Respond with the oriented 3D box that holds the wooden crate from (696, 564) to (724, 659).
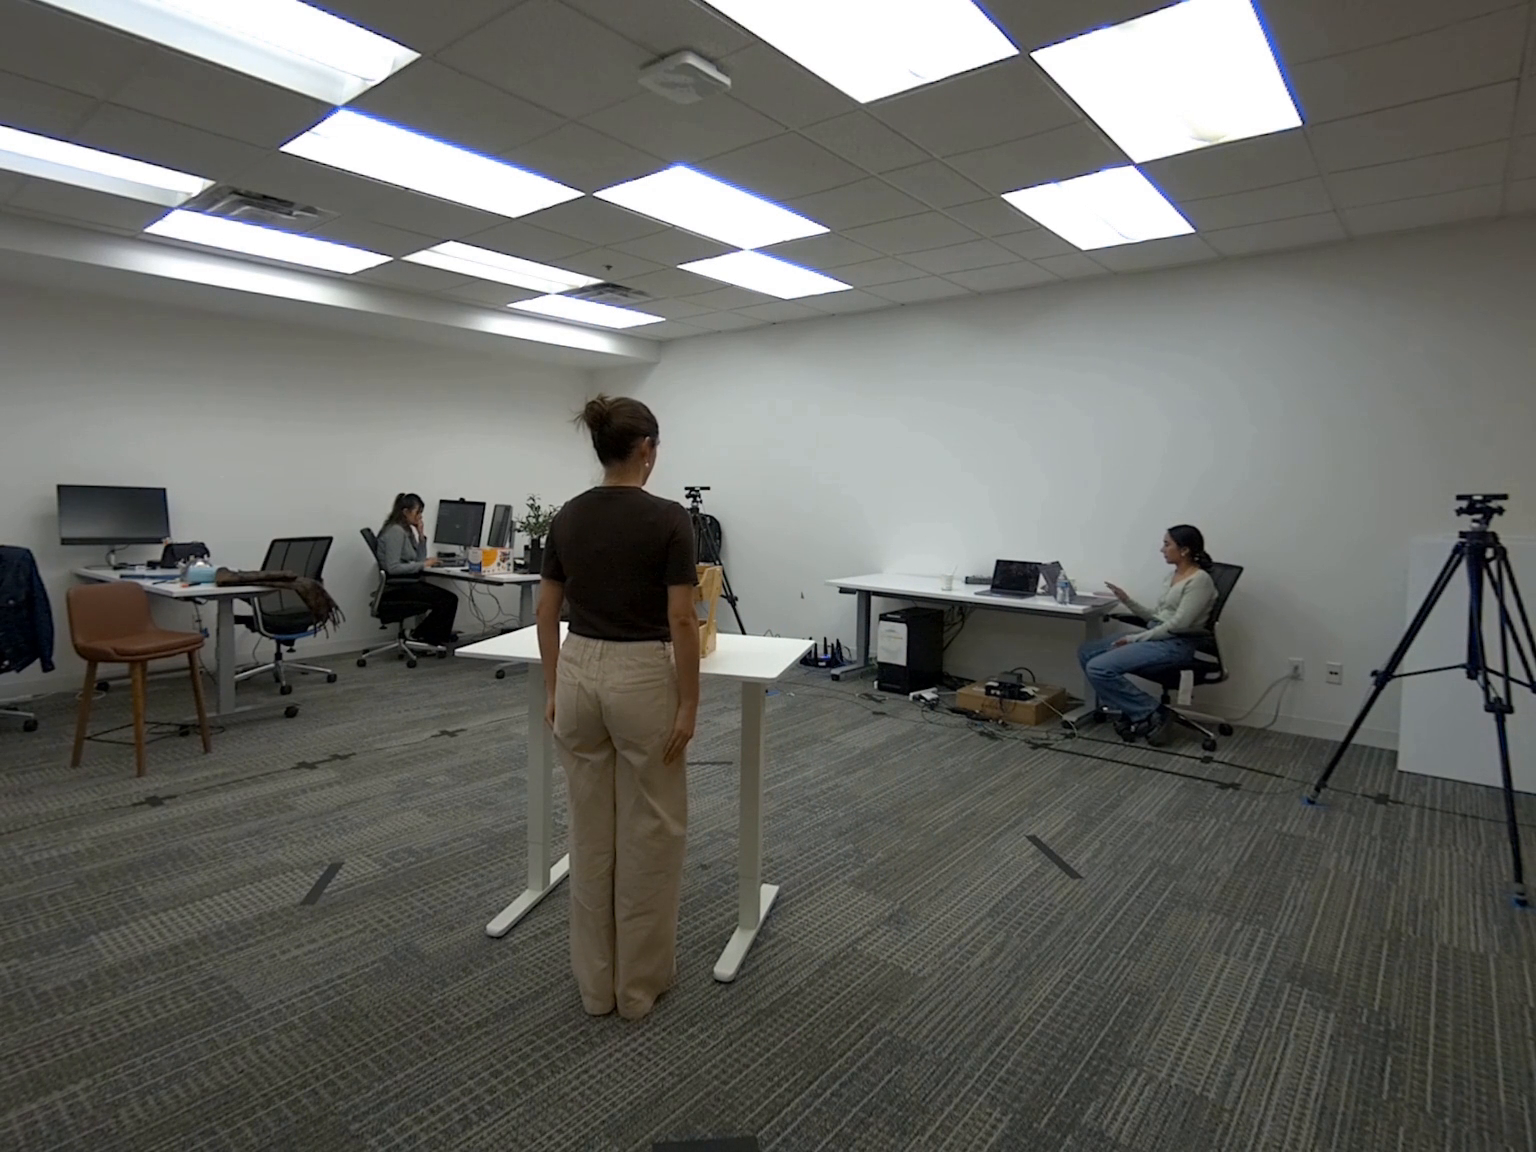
[{"bbox_3d":[-0.337,0.100,2.614,0.330,0.272,0.298,2,4,15],"label":"wooden crate"}]
